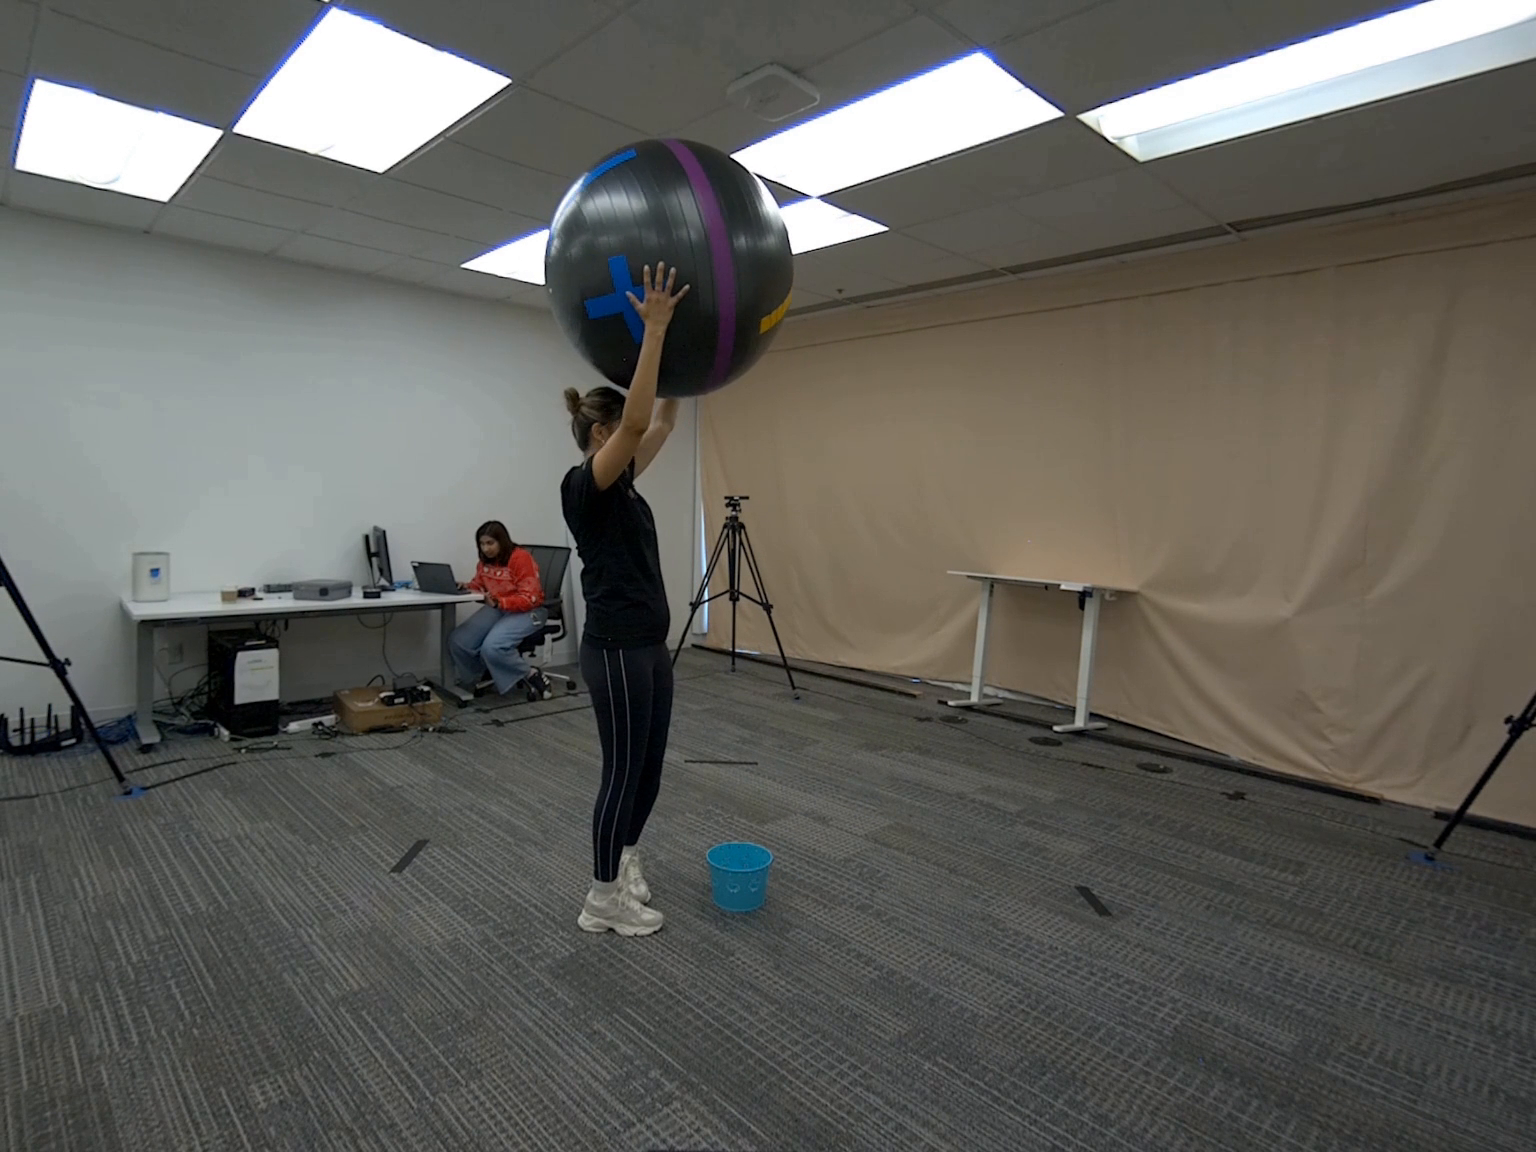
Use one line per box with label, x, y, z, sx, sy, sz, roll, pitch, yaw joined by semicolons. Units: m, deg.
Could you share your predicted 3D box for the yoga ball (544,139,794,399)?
yoga ball;-0.308;-0.922;2.584;0.757;0.756;0.761;1;4;-1
